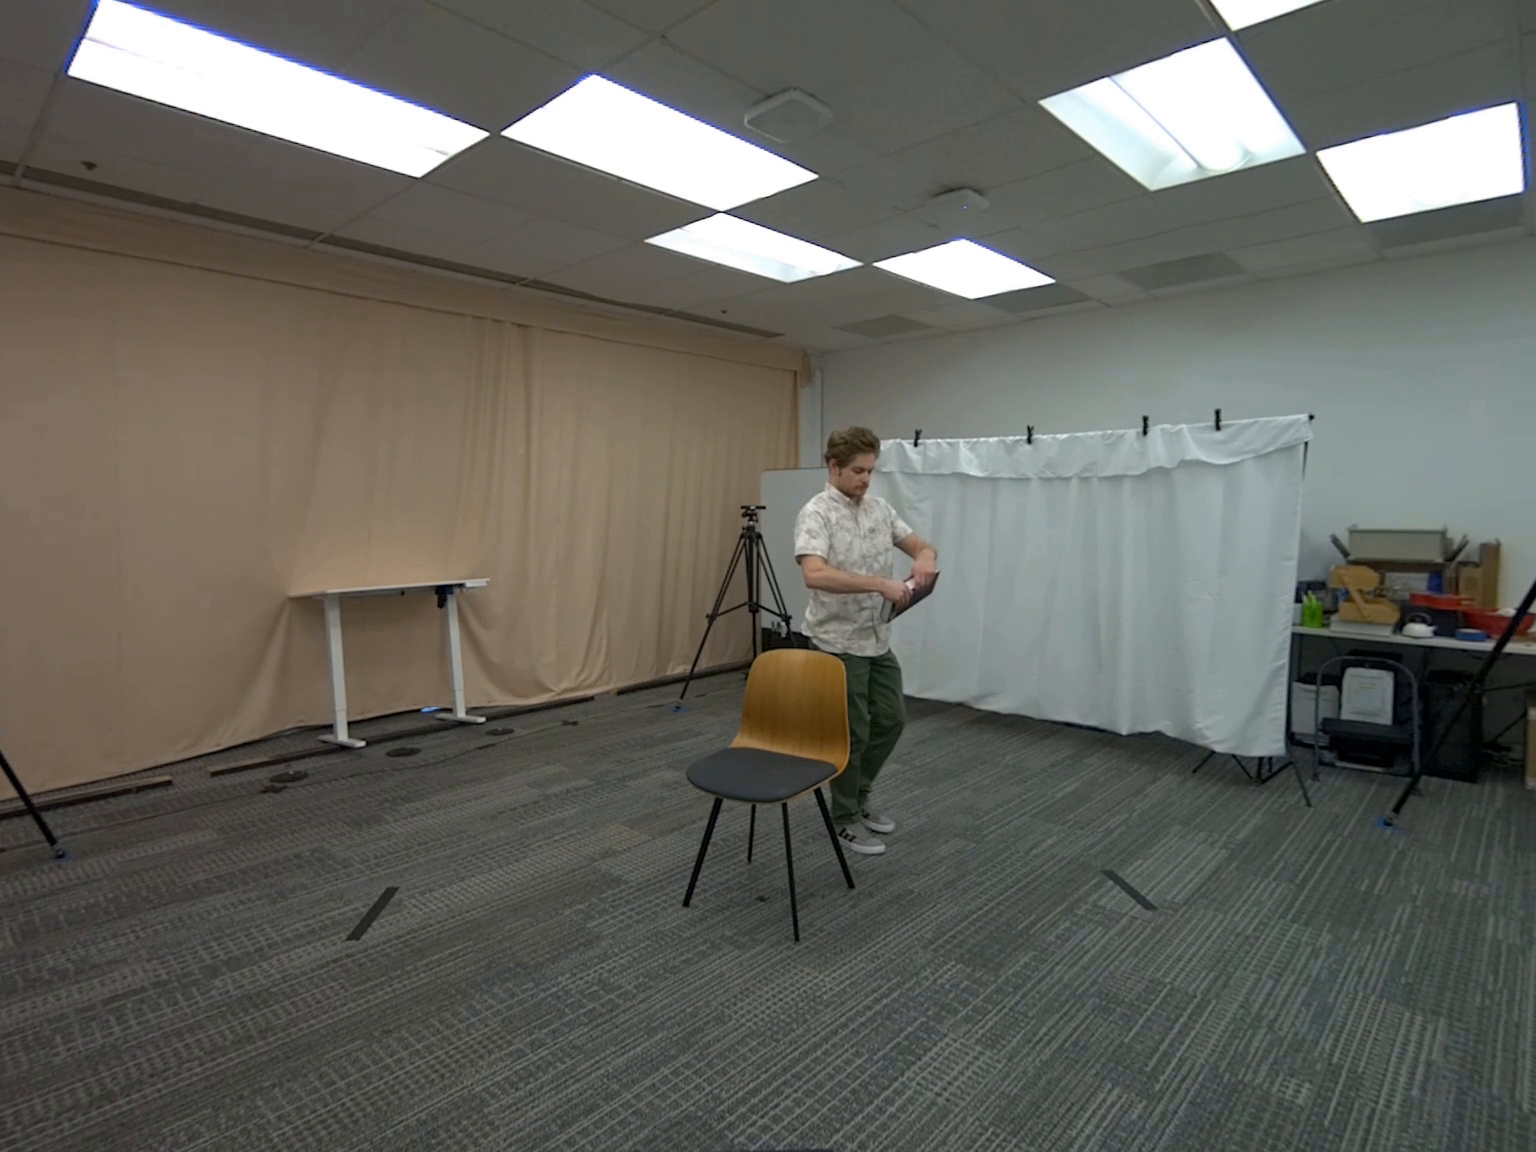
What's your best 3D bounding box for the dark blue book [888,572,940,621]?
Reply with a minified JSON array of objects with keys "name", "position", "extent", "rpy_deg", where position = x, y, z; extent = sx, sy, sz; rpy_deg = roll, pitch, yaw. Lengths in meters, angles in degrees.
[{"name":"dark blue book","position":[0.541,0.070,3.275],"extent":[0.242,0.160,0.046],"rpy_deg":[-31,60,-21]}]
